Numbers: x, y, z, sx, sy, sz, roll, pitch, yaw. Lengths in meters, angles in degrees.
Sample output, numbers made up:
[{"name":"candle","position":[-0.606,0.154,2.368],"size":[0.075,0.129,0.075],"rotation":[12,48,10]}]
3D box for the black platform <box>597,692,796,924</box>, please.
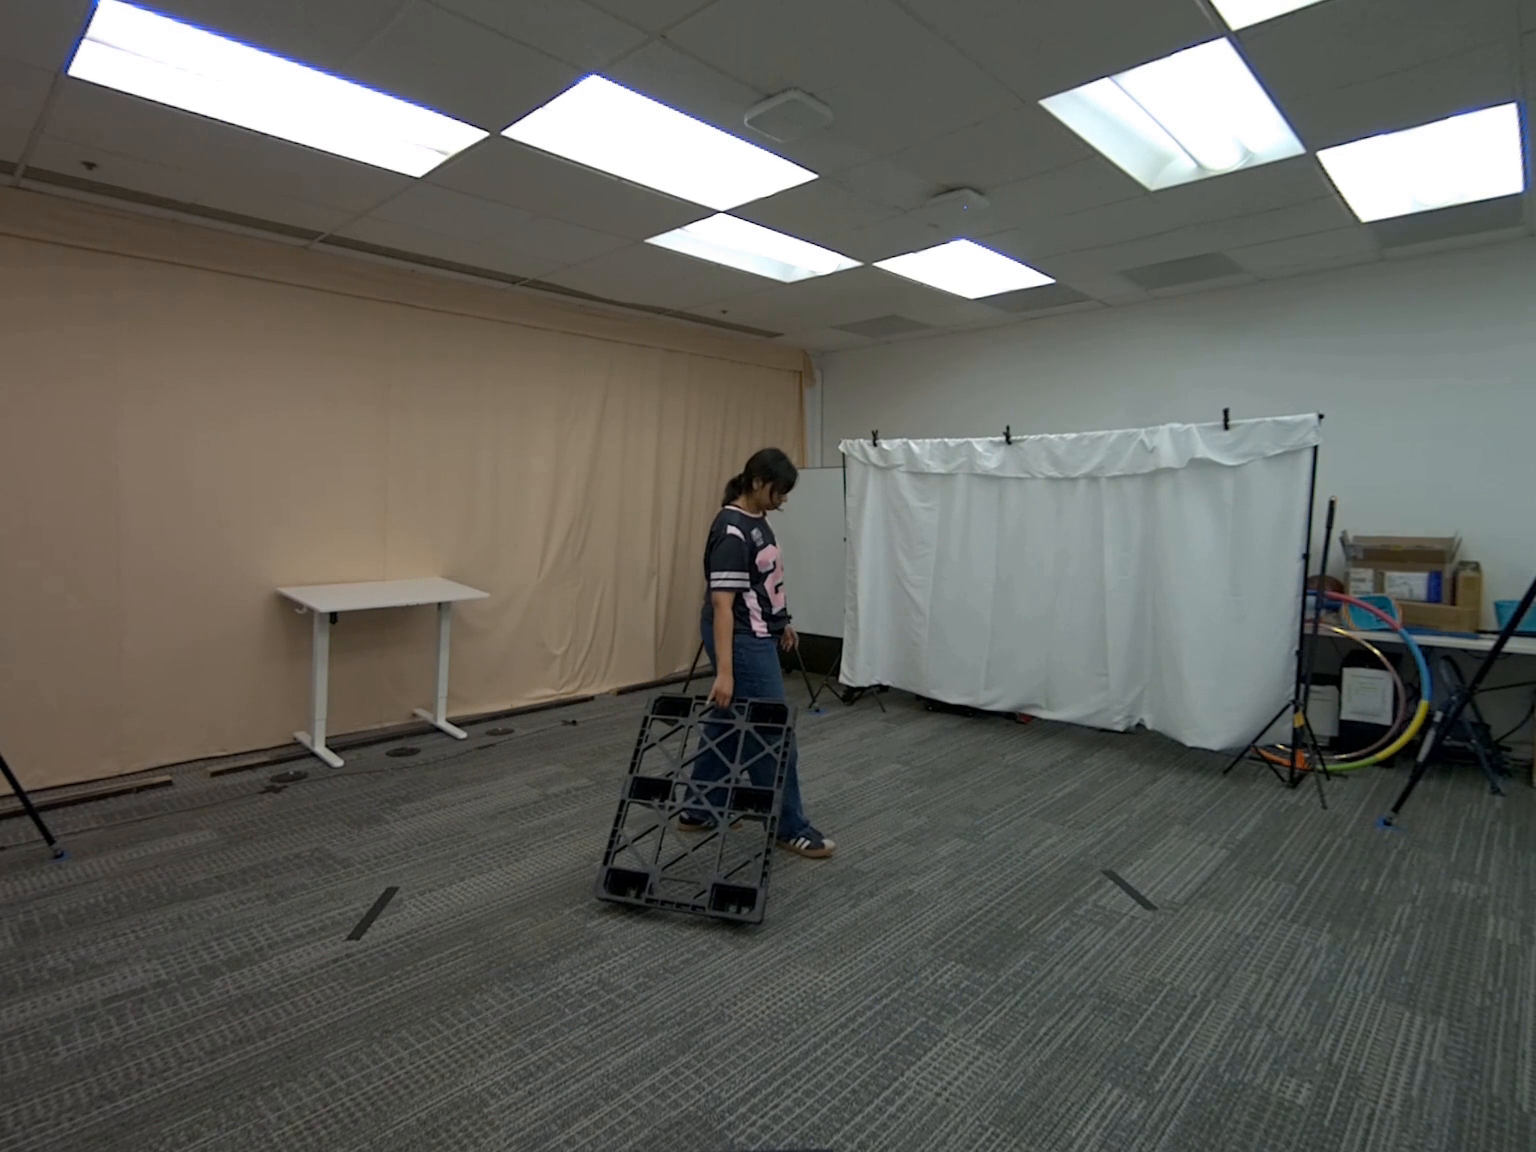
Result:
[{"name":"black platform","position":[-0.231,0.823,3.064],"size":[0.617,0.814,0.139],"rotation":[-1,-37,18]}]
